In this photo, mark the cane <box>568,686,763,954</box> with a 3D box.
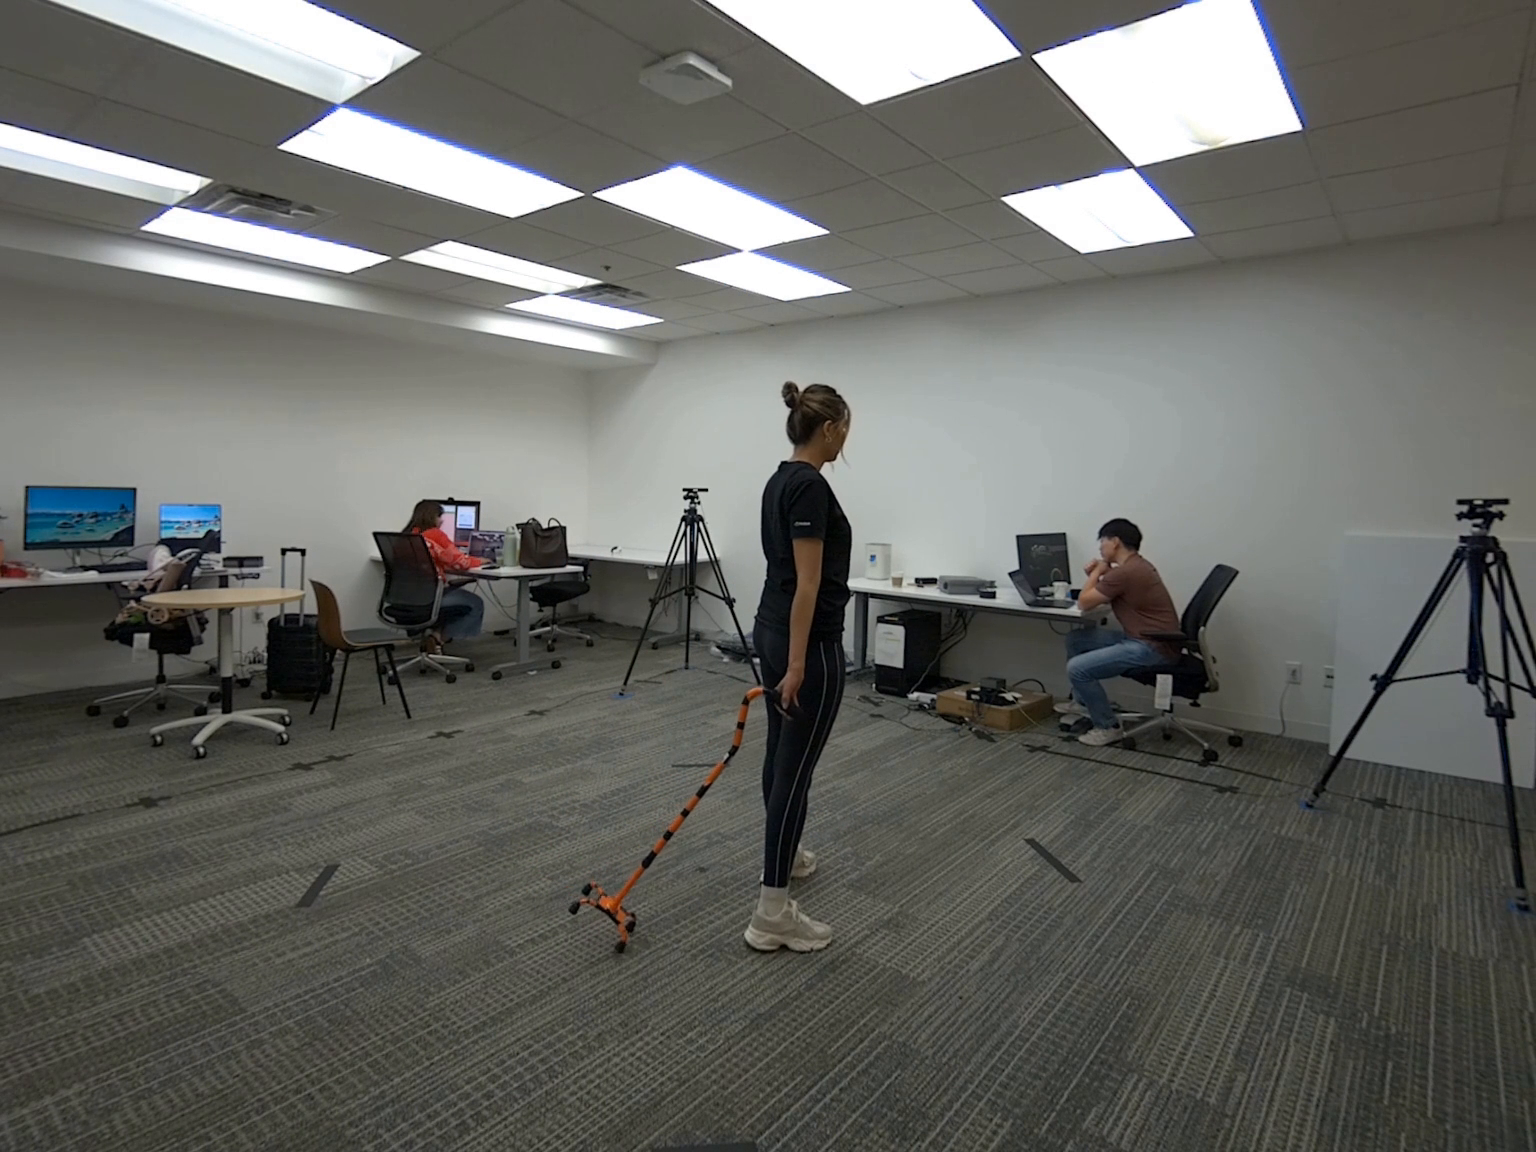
[{"bbox_3d":[-0.255,0.698,2.547,0.208,0.907,0.151,37,8,4],"label":"cane"}]
